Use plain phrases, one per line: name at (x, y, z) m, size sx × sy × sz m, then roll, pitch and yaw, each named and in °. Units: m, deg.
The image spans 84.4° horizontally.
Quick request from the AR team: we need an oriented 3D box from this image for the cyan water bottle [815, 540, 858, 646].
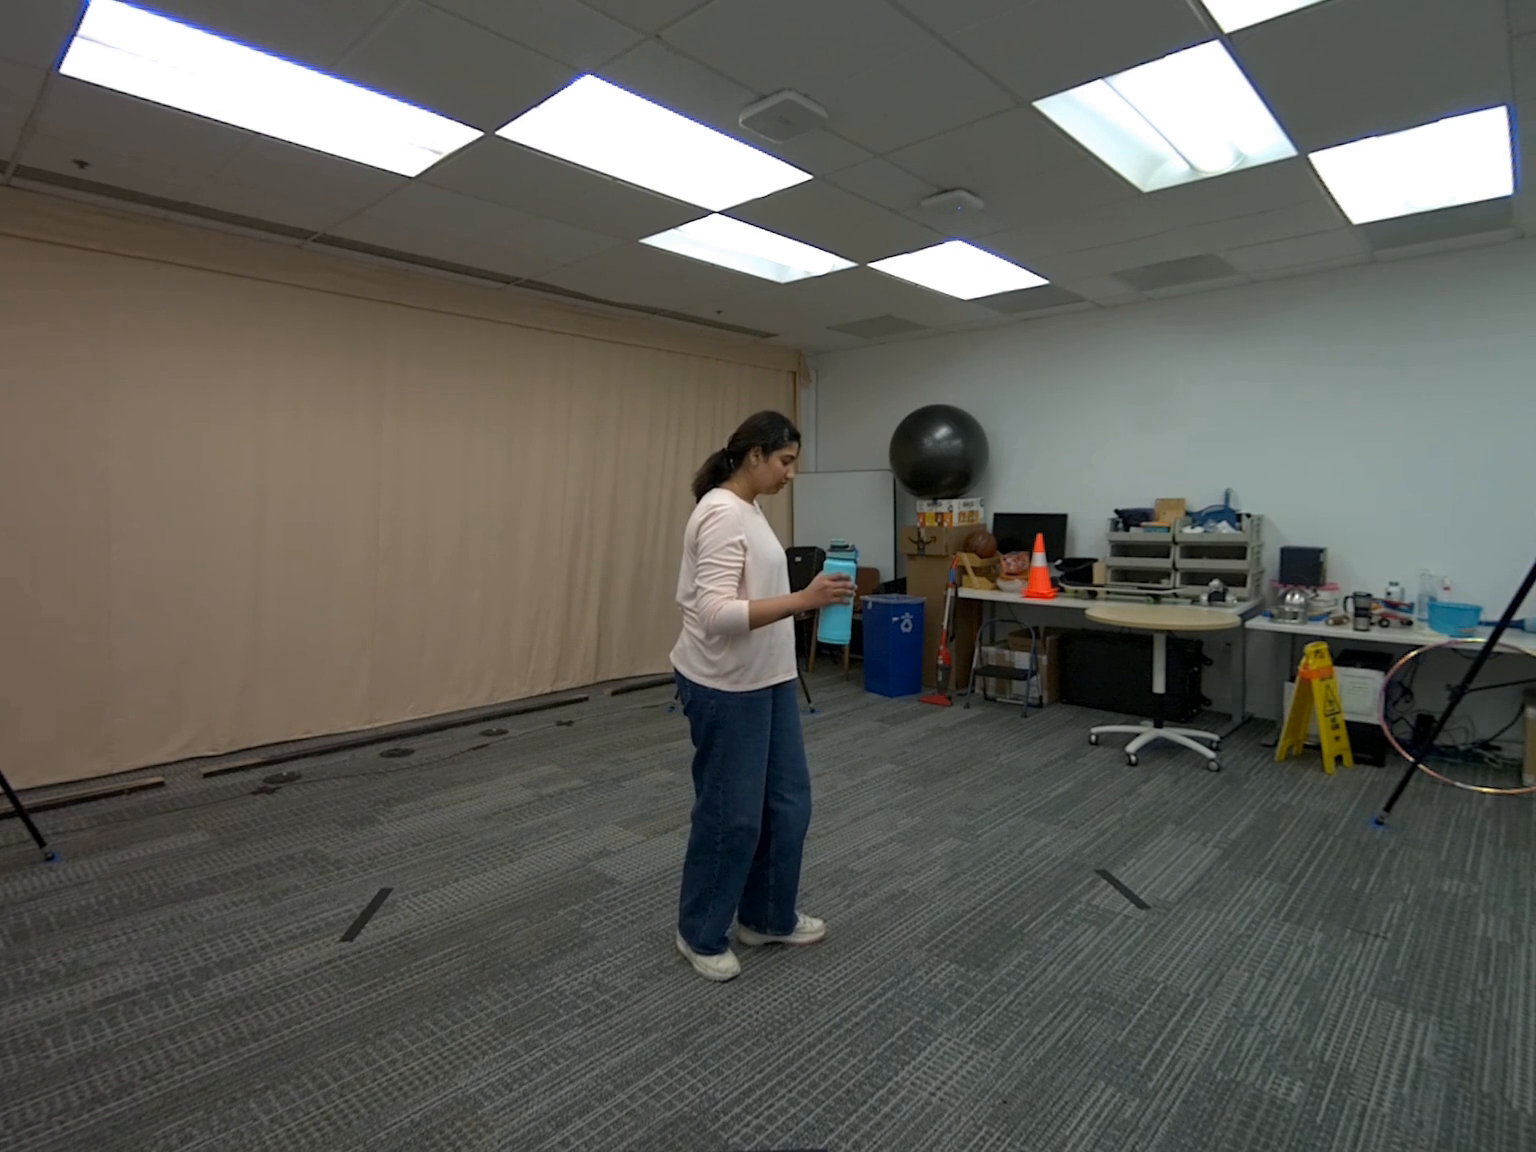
cyan water bottle at (0.200, 0.041, 2.316) m, size 0.092 × 0.283 × 0.092 m, roll 7°, pitch 1°, yaw -2°
